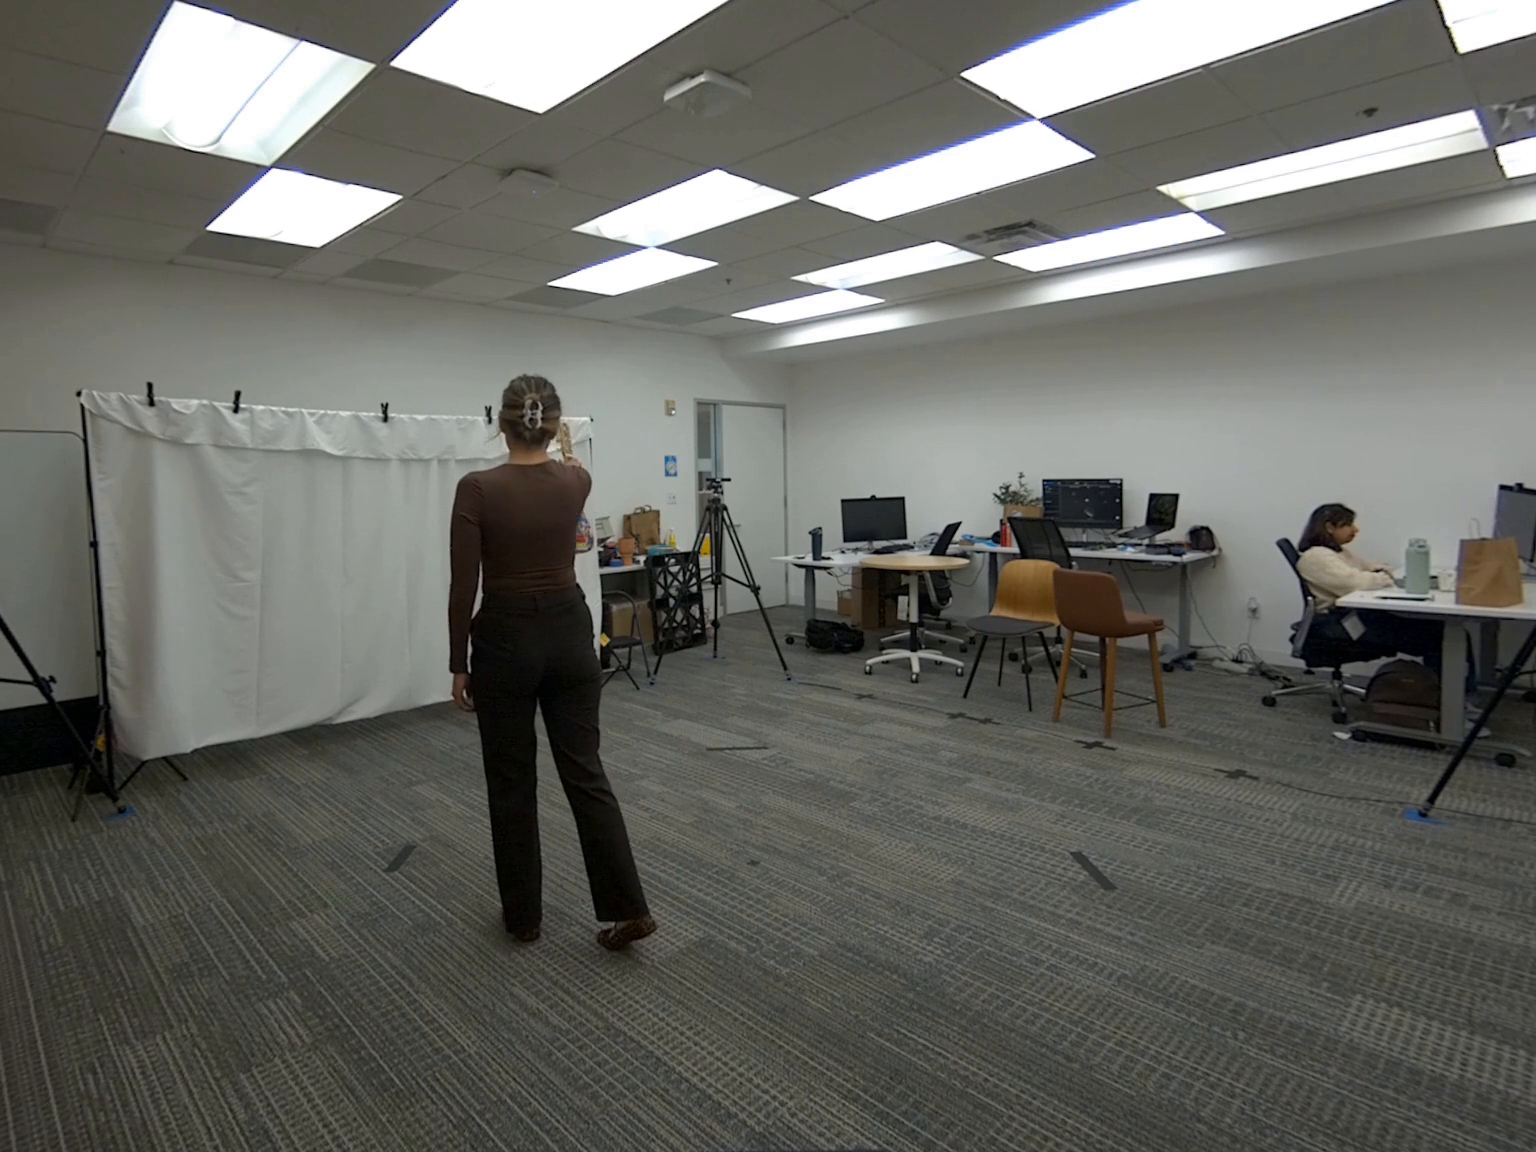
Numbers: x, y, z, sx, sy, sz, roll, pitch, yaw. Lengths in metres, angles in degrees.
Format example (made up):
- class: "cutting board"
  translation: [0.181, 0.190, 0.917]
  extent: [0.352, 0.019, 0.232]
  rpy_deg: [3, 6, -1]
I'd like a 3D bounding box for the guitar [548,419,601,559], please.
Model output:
- class: "guitar"
  translation: [-0.738, -0.327, 3.248]
  extent: [0.072, 0.502, 0.188]
  rpy_deg: [-9, -9, 24]
